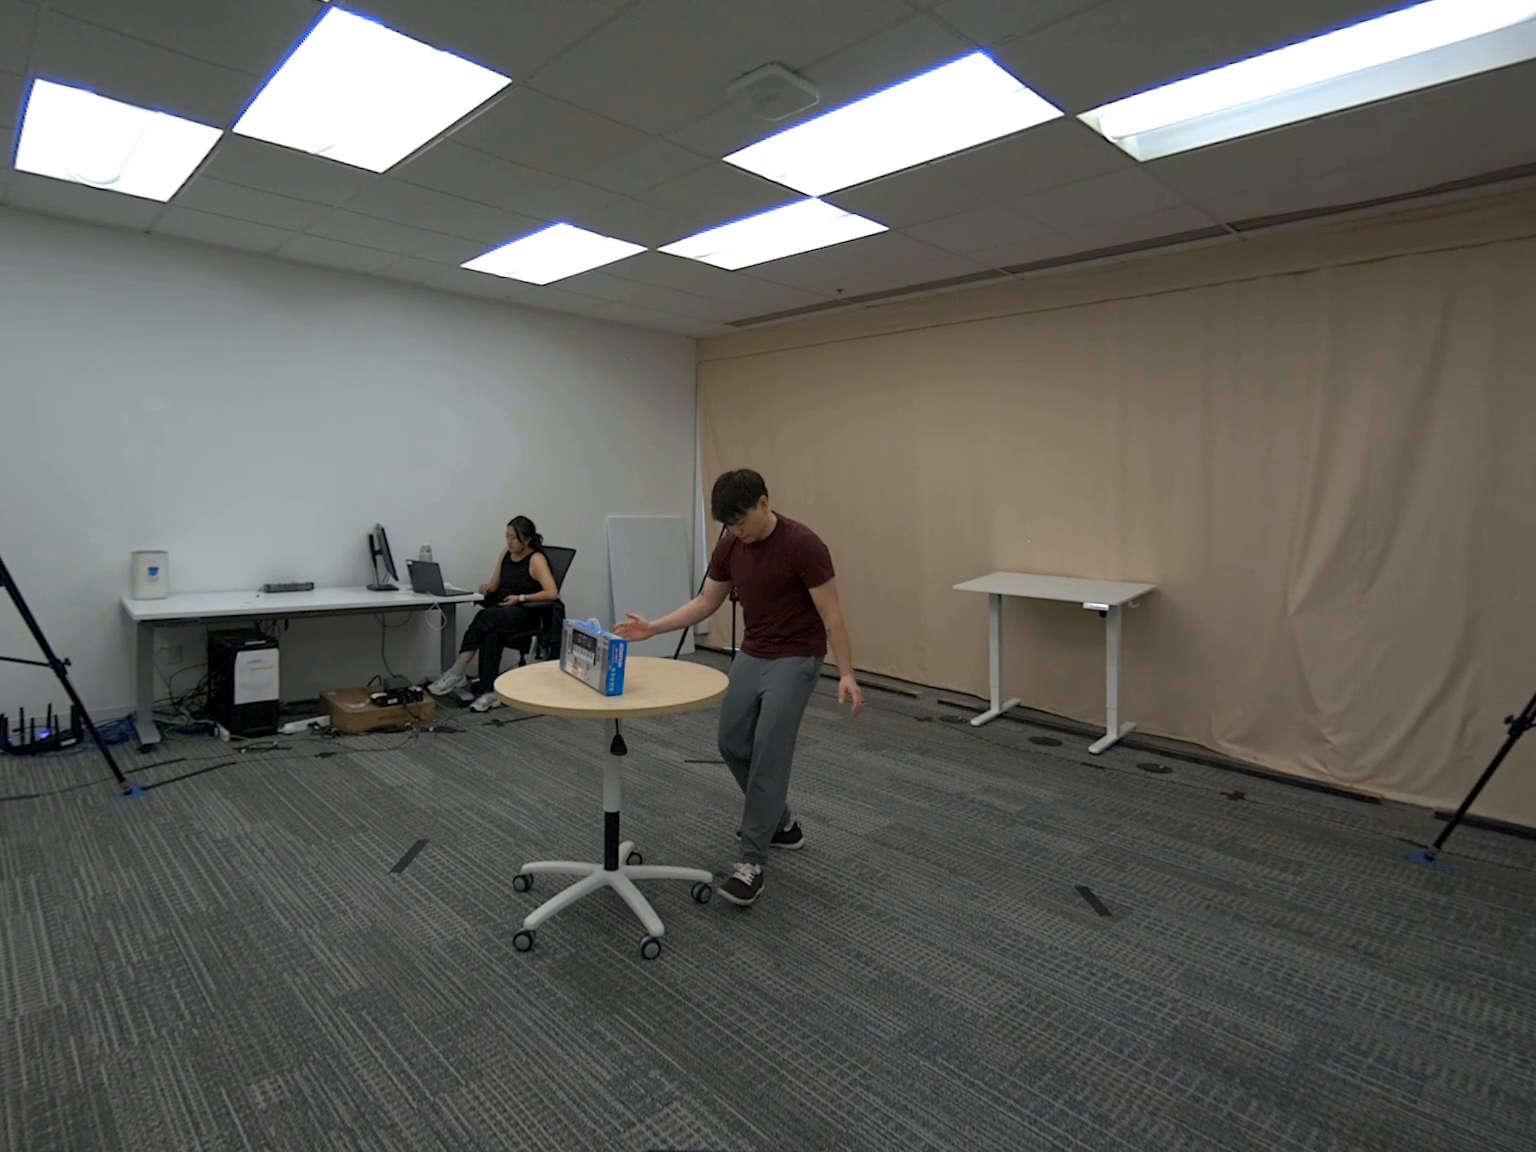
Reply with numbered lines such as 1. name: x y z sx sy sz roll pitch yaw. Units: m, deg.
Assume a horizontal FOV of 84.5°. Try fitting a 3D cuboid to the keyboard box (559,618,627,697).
1. keyboard box: -0.588 0.263 2.747 0.058 0.176 0.447 4 3 -32
